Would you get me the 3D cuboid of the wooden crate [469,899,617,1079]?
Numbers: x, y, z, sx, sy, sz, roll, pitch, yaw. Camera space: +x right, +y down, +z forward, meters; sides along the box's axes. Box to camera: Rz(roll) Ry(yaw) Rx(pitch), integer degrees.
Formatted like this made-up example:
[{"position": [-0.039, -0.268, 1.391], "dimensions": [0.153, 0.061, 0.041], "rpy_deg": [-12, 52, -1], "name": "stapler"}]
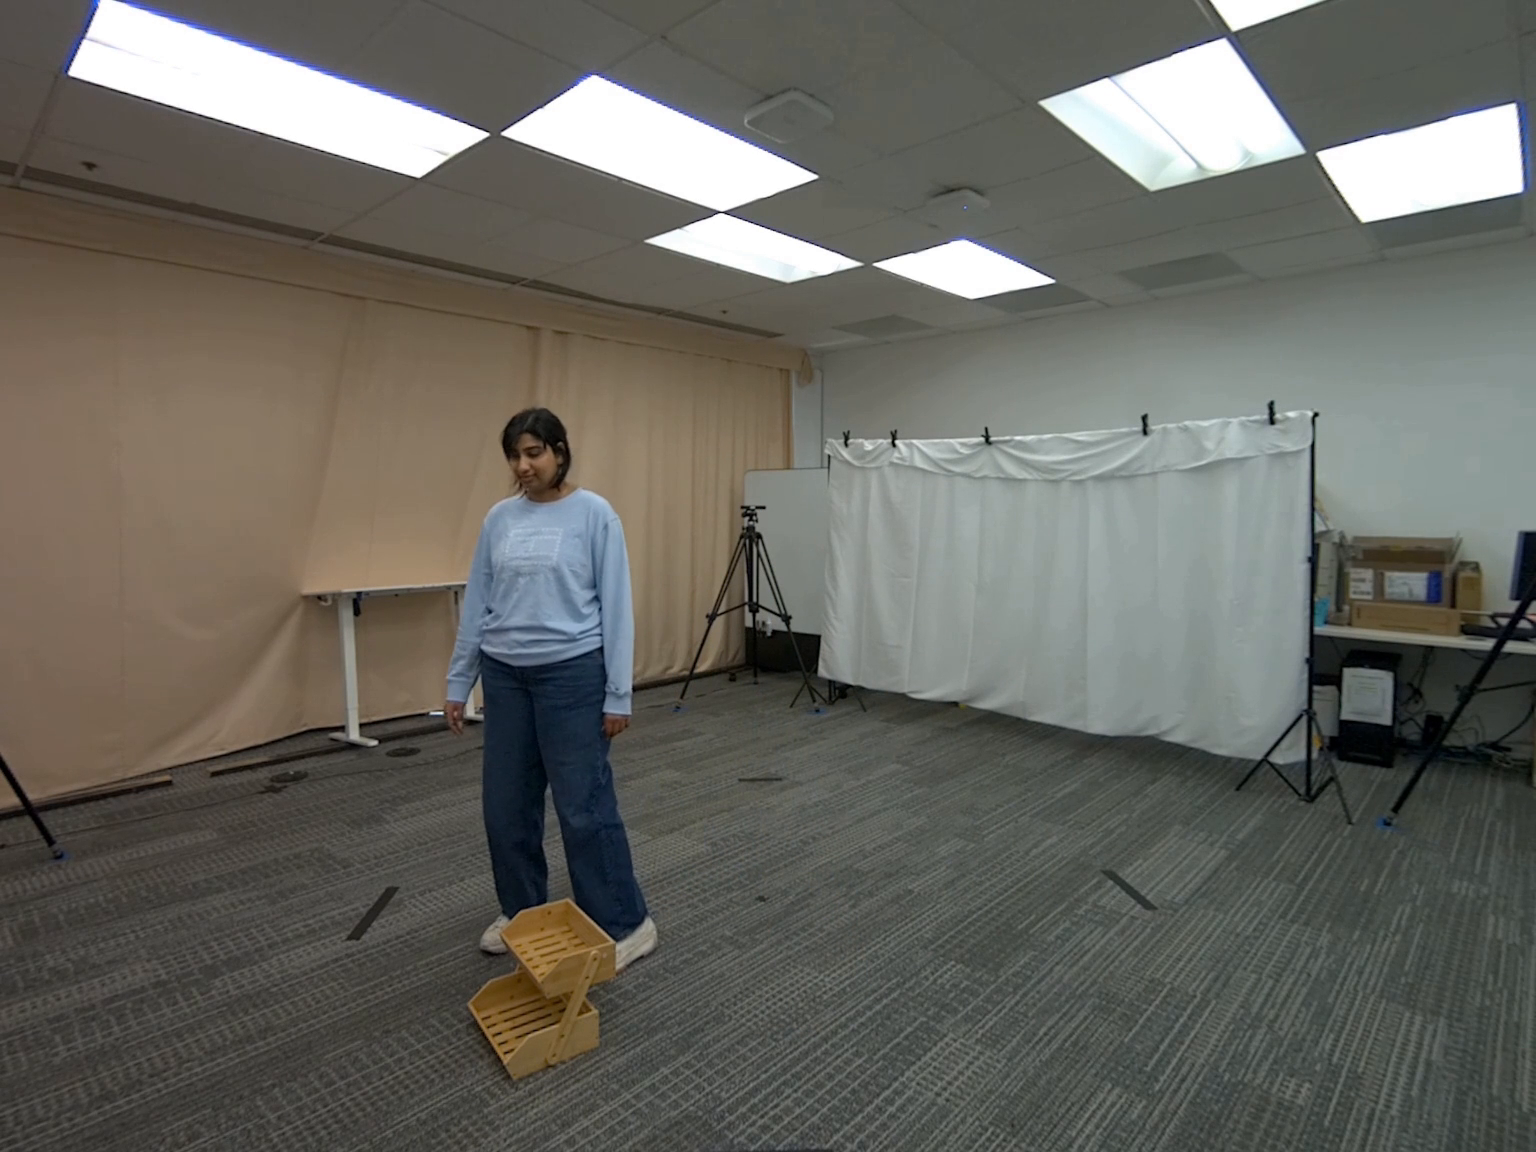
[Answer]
[{"position": [-0.611, 1.080, 2.229], "dimensions": [0.293, 0.273, 0.335], "rpy_deg": [-3, 4, -36], "name": "wooden crate"}]
